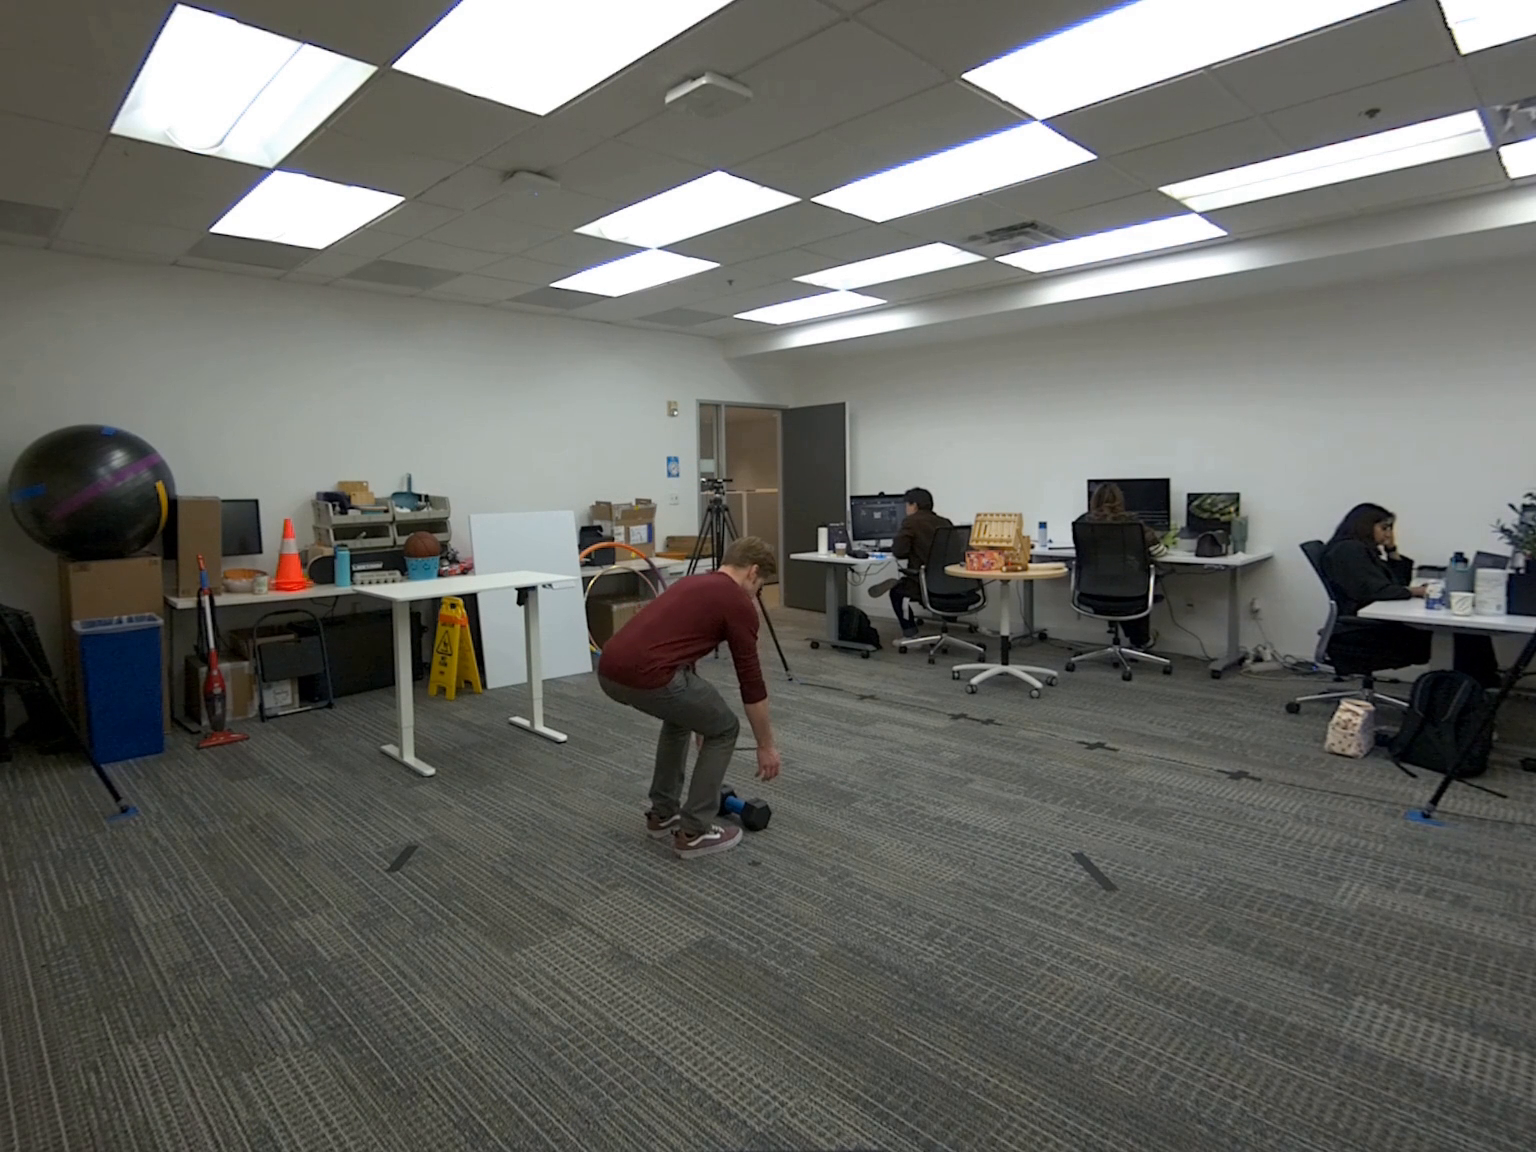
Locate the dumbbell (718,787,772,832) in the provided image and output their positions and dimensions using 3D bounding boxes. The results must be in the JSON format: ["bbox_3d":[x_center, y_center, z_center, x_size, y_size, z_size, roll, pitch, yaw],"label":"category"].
[{"bbox_3d":[-0.117,0.948,3.505,0.105,0.124,0.303,34,-18,-38],"label":"dumbbell"}]
